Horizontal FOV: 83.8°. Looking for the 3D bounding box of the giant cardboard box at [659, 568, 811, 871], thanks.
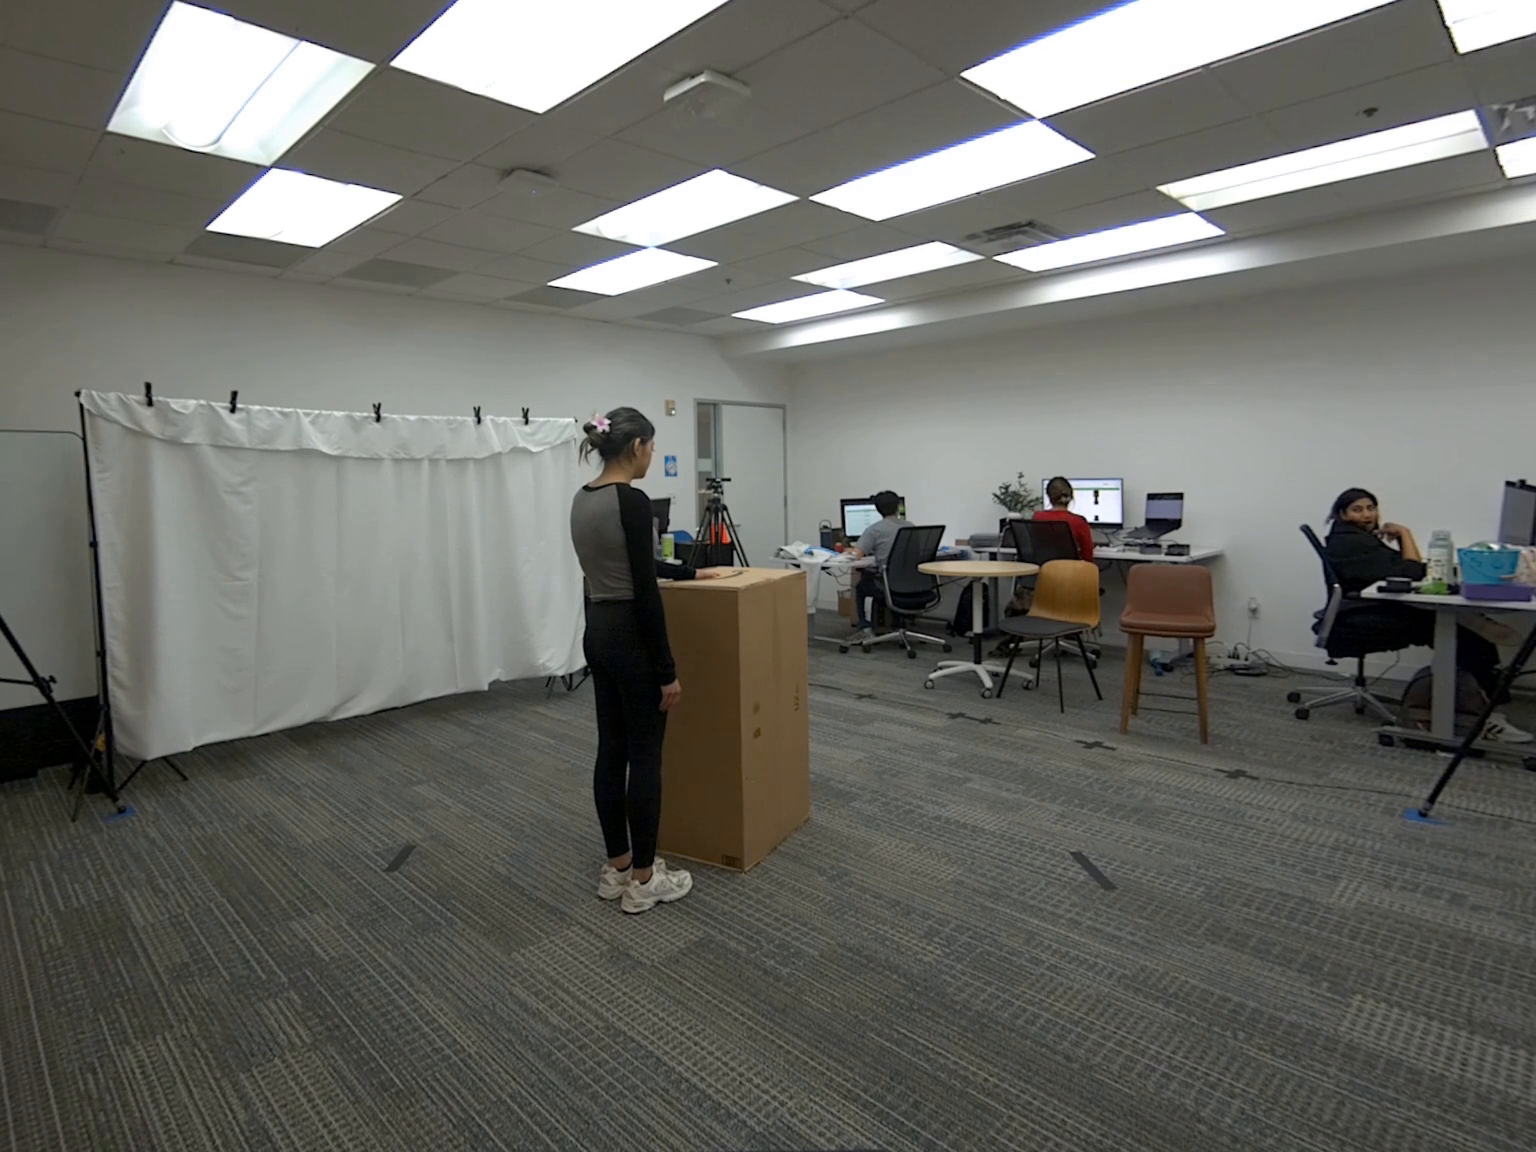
[{"bbox_3d":[-0.150,0.512,3.343,0.458,1.023,0.572,2,5,28],"label":"giant cardboard box"}]
